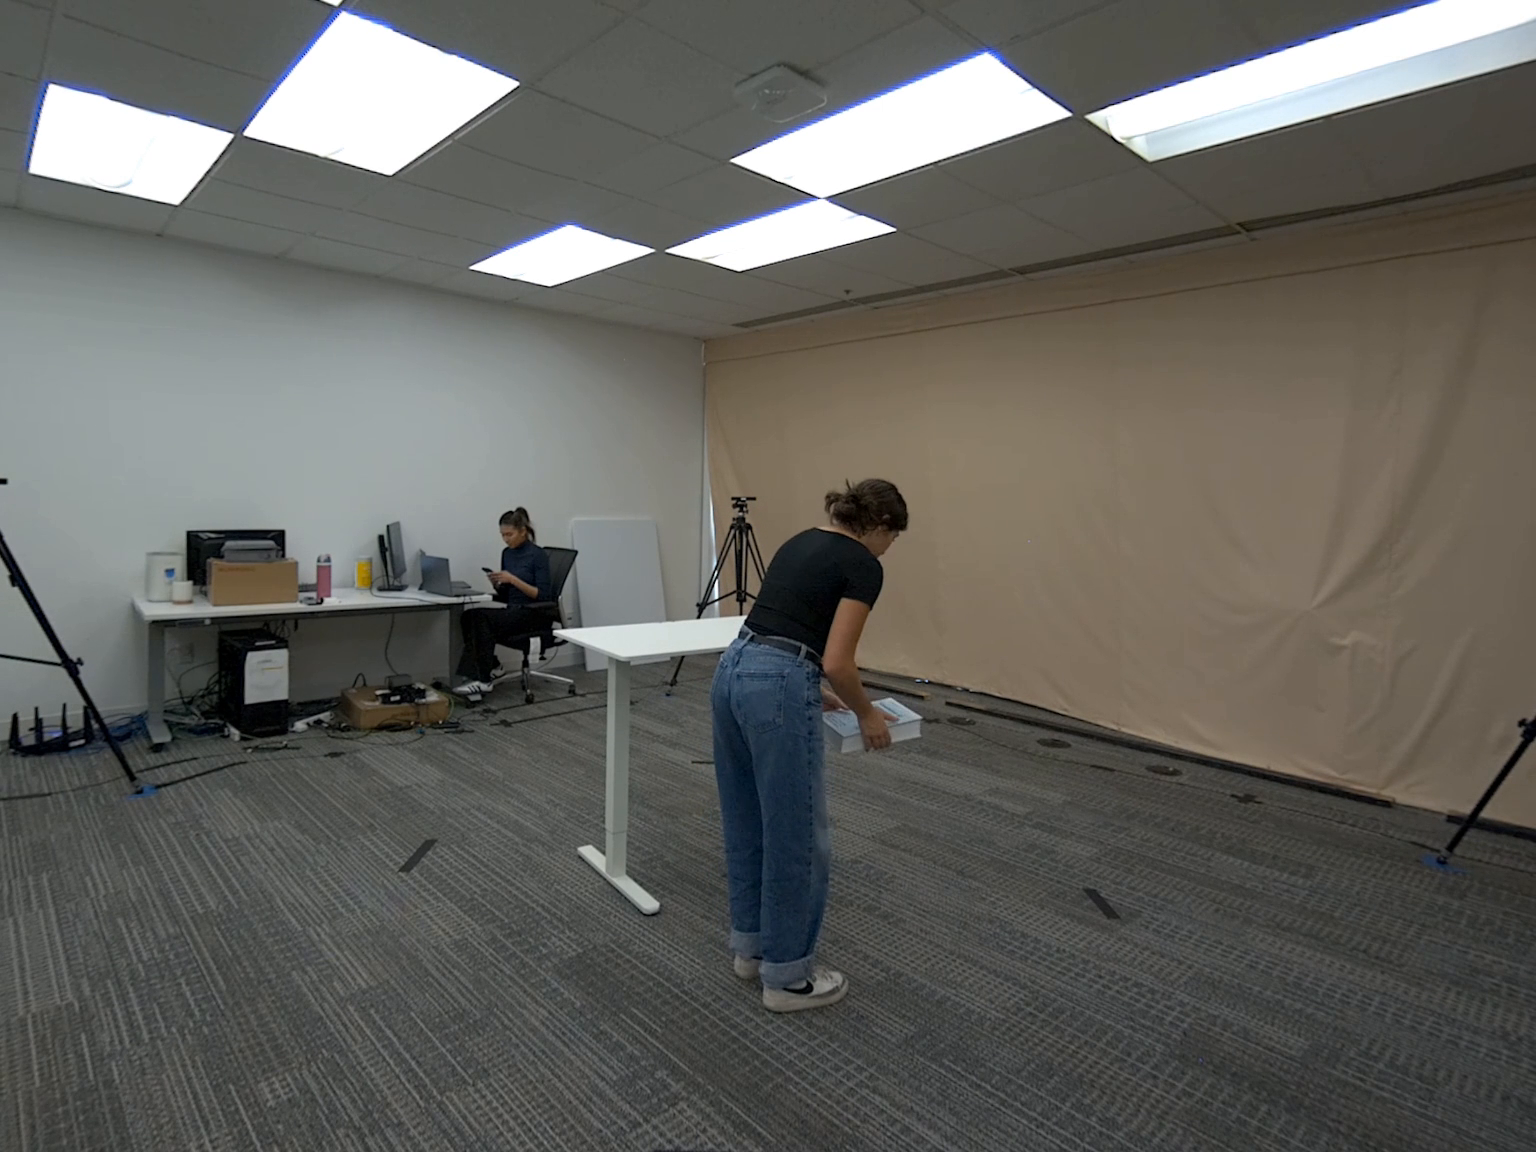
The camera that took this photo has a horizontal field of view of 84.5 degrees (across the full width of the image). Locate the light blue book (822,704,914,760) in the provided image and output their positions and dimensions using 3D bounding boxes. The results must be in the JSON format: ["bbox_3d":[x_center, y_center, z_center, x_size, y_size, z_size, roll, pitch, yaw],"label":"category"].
[{"bbox_3d":[0.266,0.456,2.509,0.258,0.058,0.195,-7,12,-14],"label":"light blue book"}]
